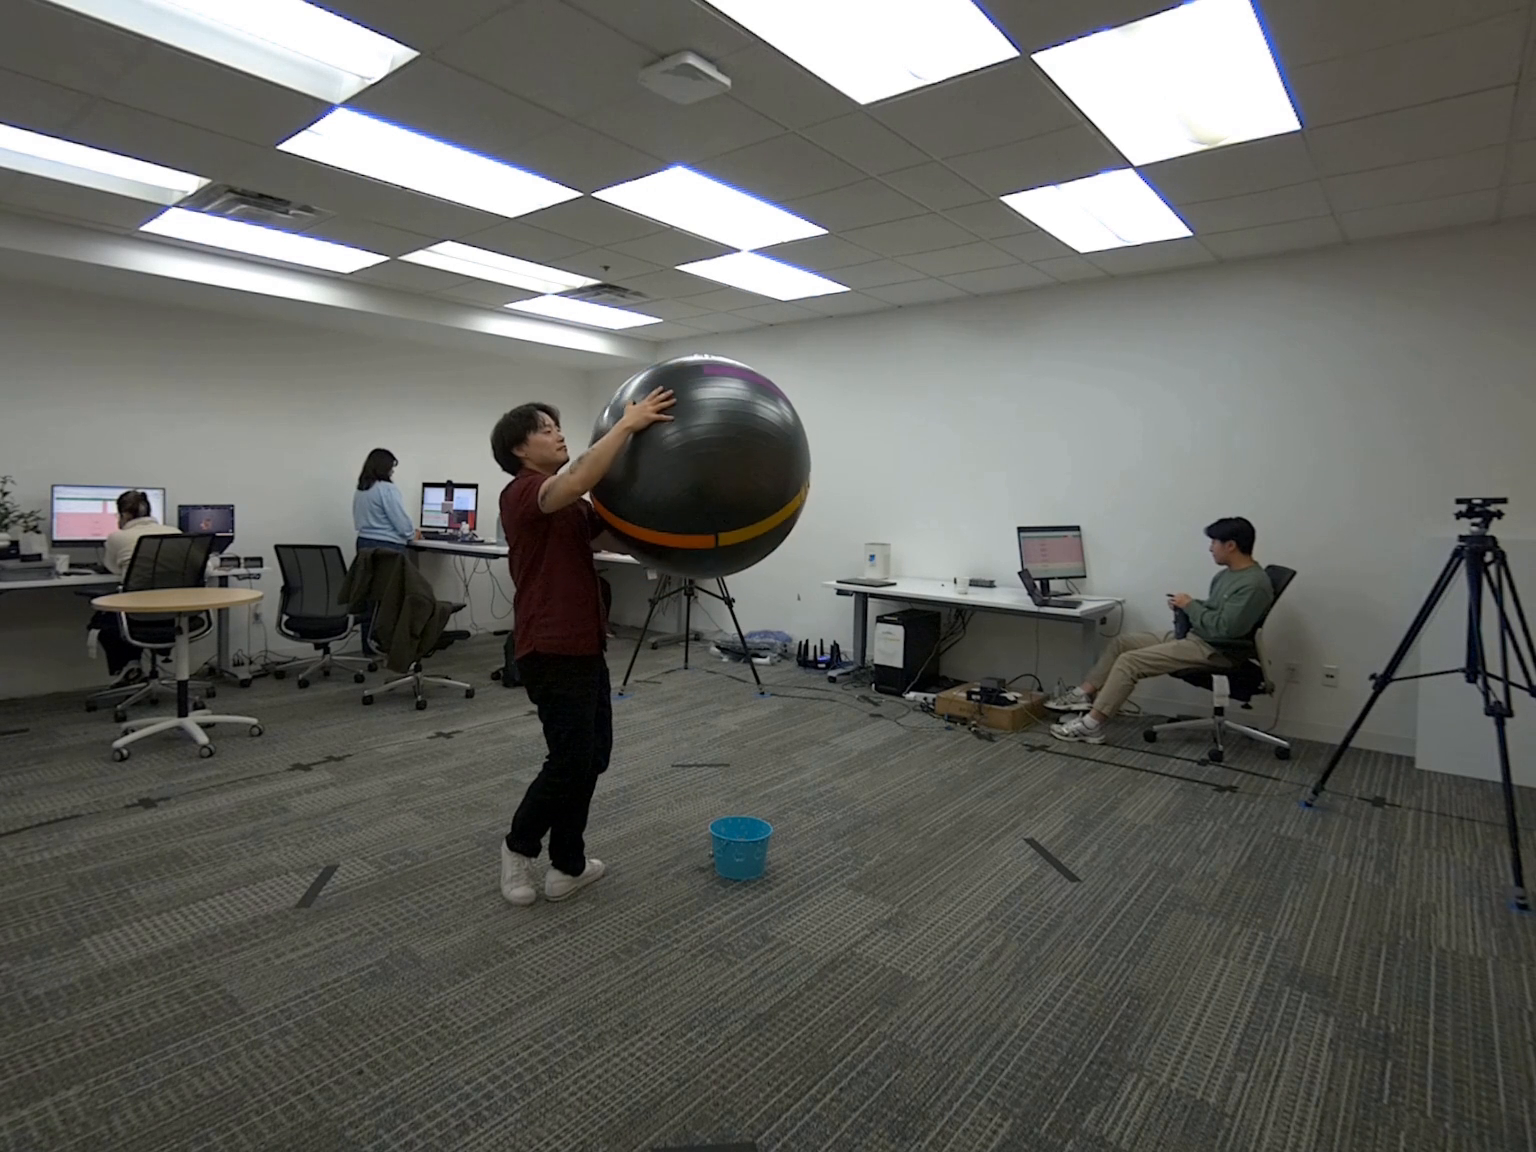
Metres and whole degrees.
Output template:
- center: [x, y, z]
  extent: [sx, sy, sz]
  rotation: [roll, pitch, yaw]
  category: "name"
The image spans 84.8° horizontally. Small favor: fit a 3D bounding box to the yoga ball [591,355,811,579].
- center: [-0.247, -0.362, 2.899]
  extent: [0.757, 0.756, 0.762]
  rotation: [1, 4, -2]
  category: "yoga ball"
